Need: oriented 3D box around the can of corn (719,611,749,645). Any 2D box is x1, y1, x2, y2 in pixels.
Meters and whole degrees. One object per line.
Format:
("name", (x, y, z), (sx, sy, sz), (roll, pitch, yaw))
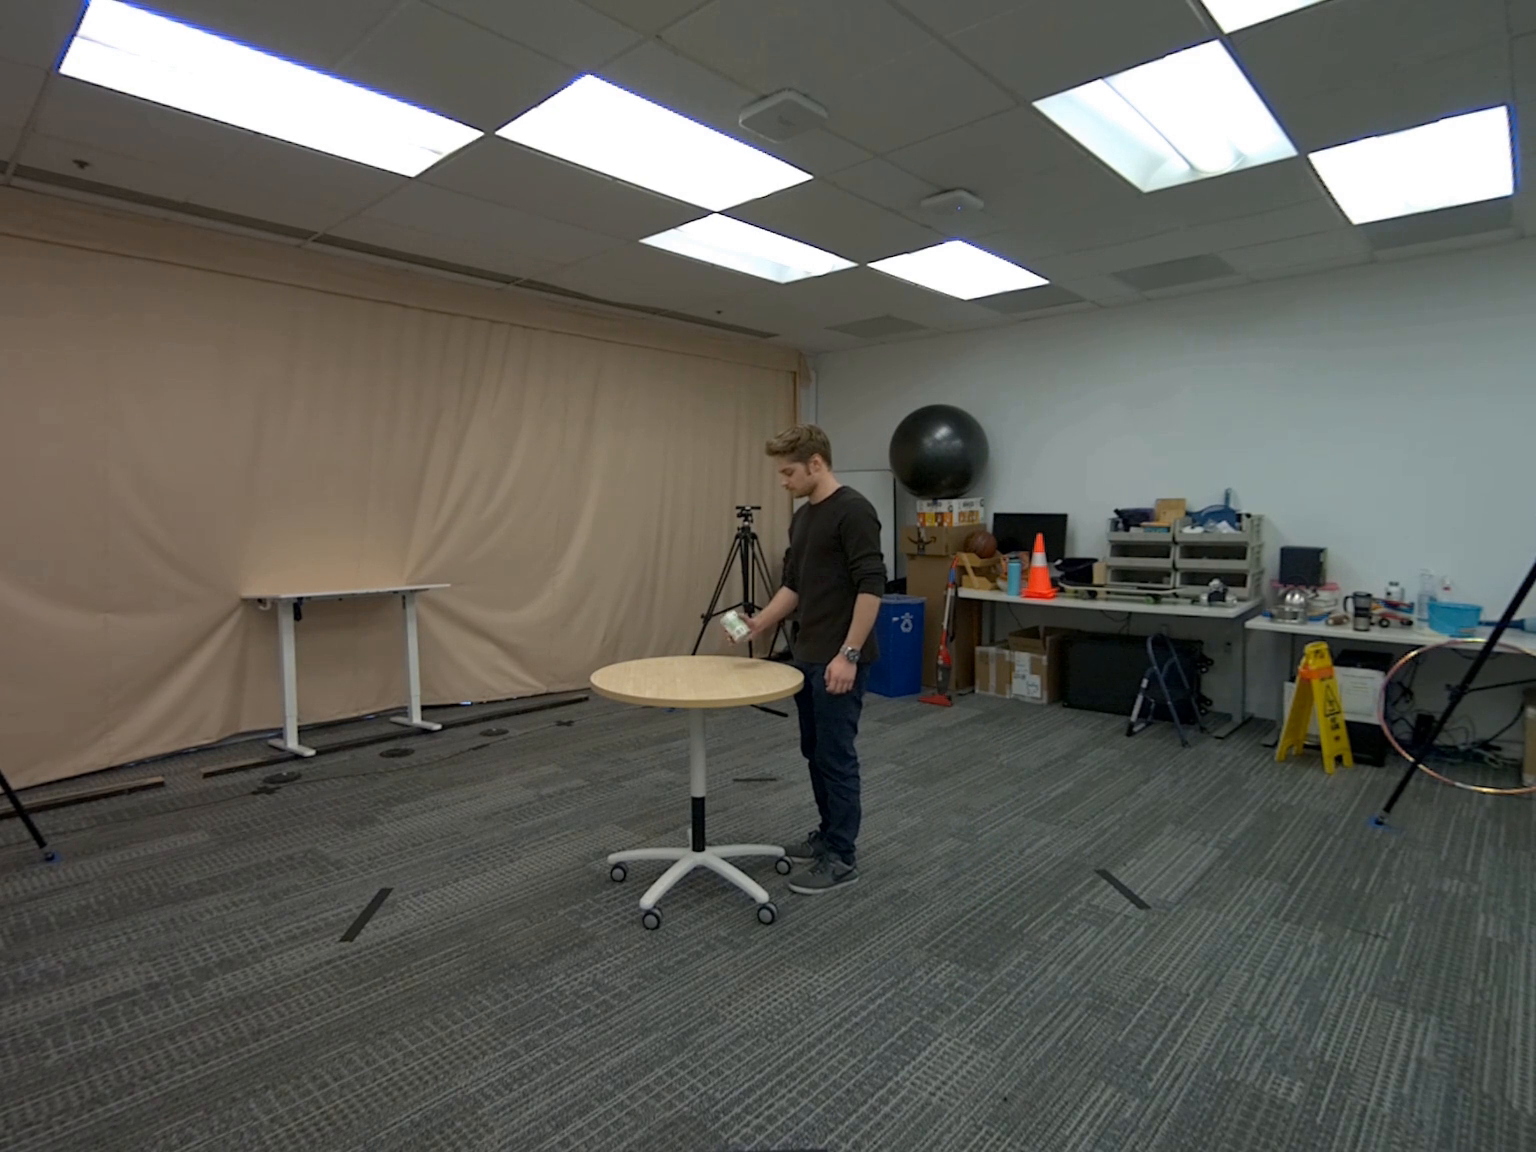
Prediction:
("can of corn", (-0.117, 0.199, 3.207), (0.074, 0.112, 0.073), (-28, -12, -8))
